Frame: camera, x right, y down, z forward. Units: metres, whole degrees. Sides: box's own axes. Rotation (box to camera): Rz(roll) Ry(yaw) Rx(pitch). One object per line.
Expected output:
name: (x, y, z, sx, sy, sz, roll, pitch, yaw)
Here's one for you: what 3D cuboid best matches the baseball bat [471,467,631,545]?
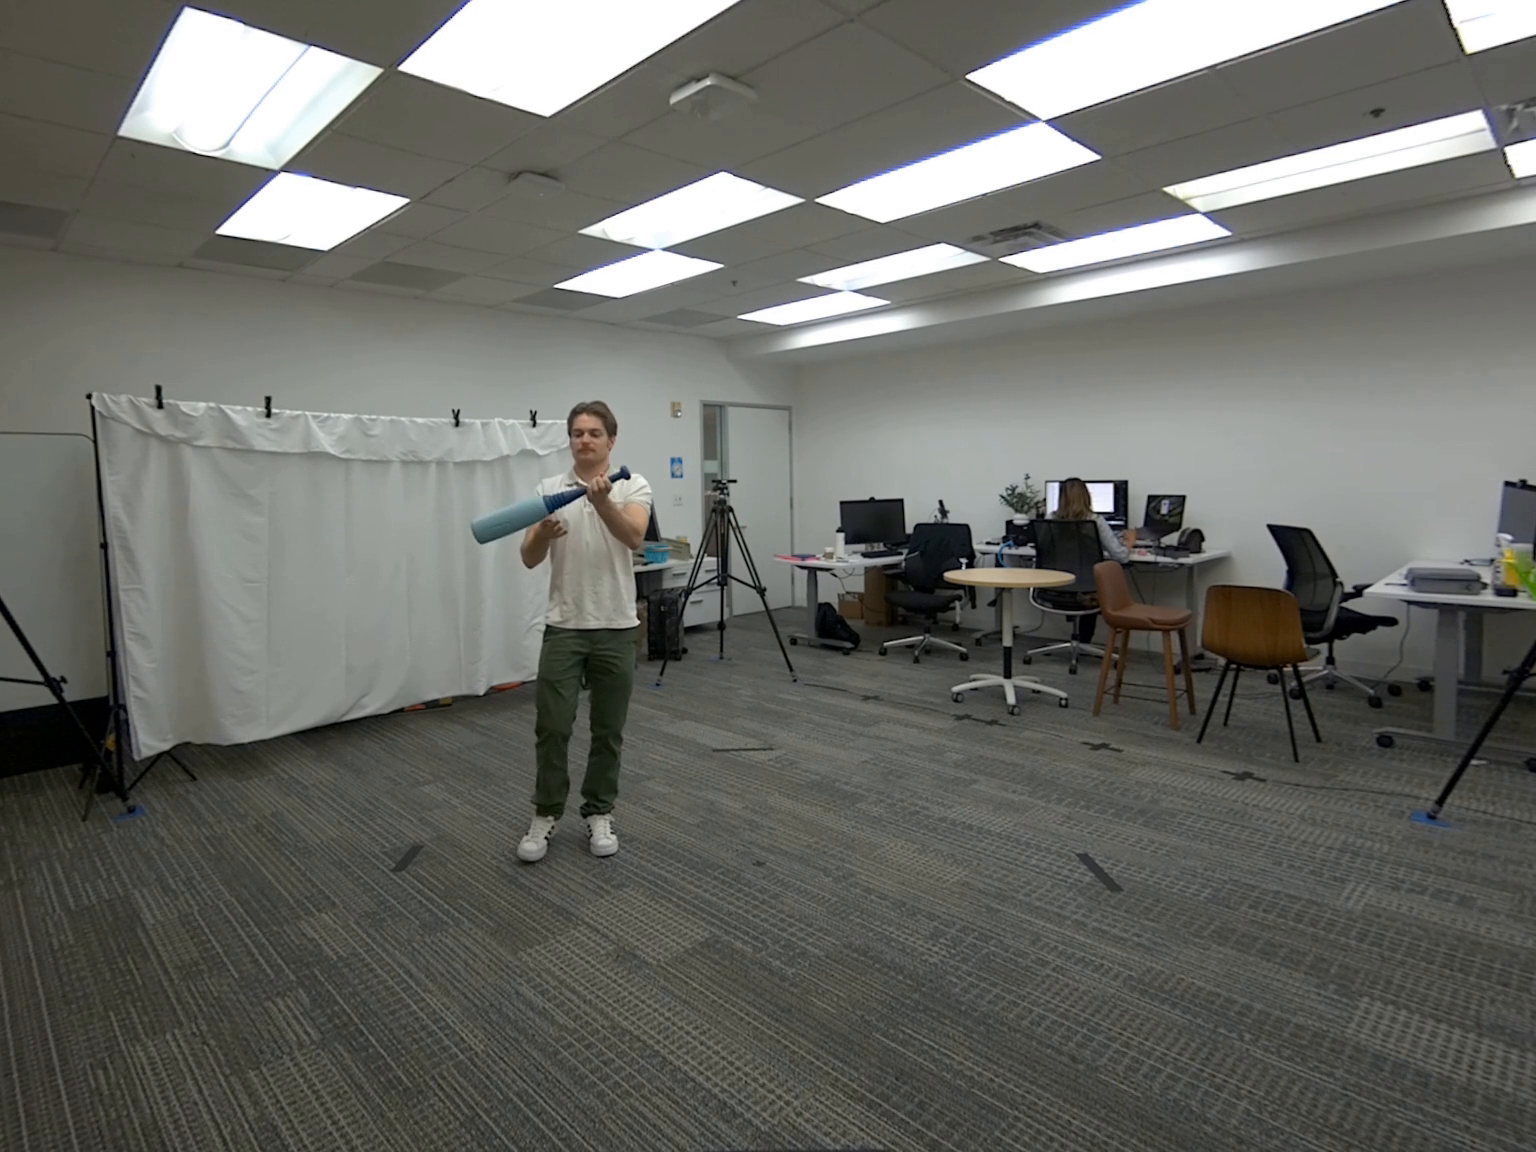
baseball bat: (-0.713, -0.239, 2.791, 0.542, 0.088, 0.090, -24, 7, -4)
